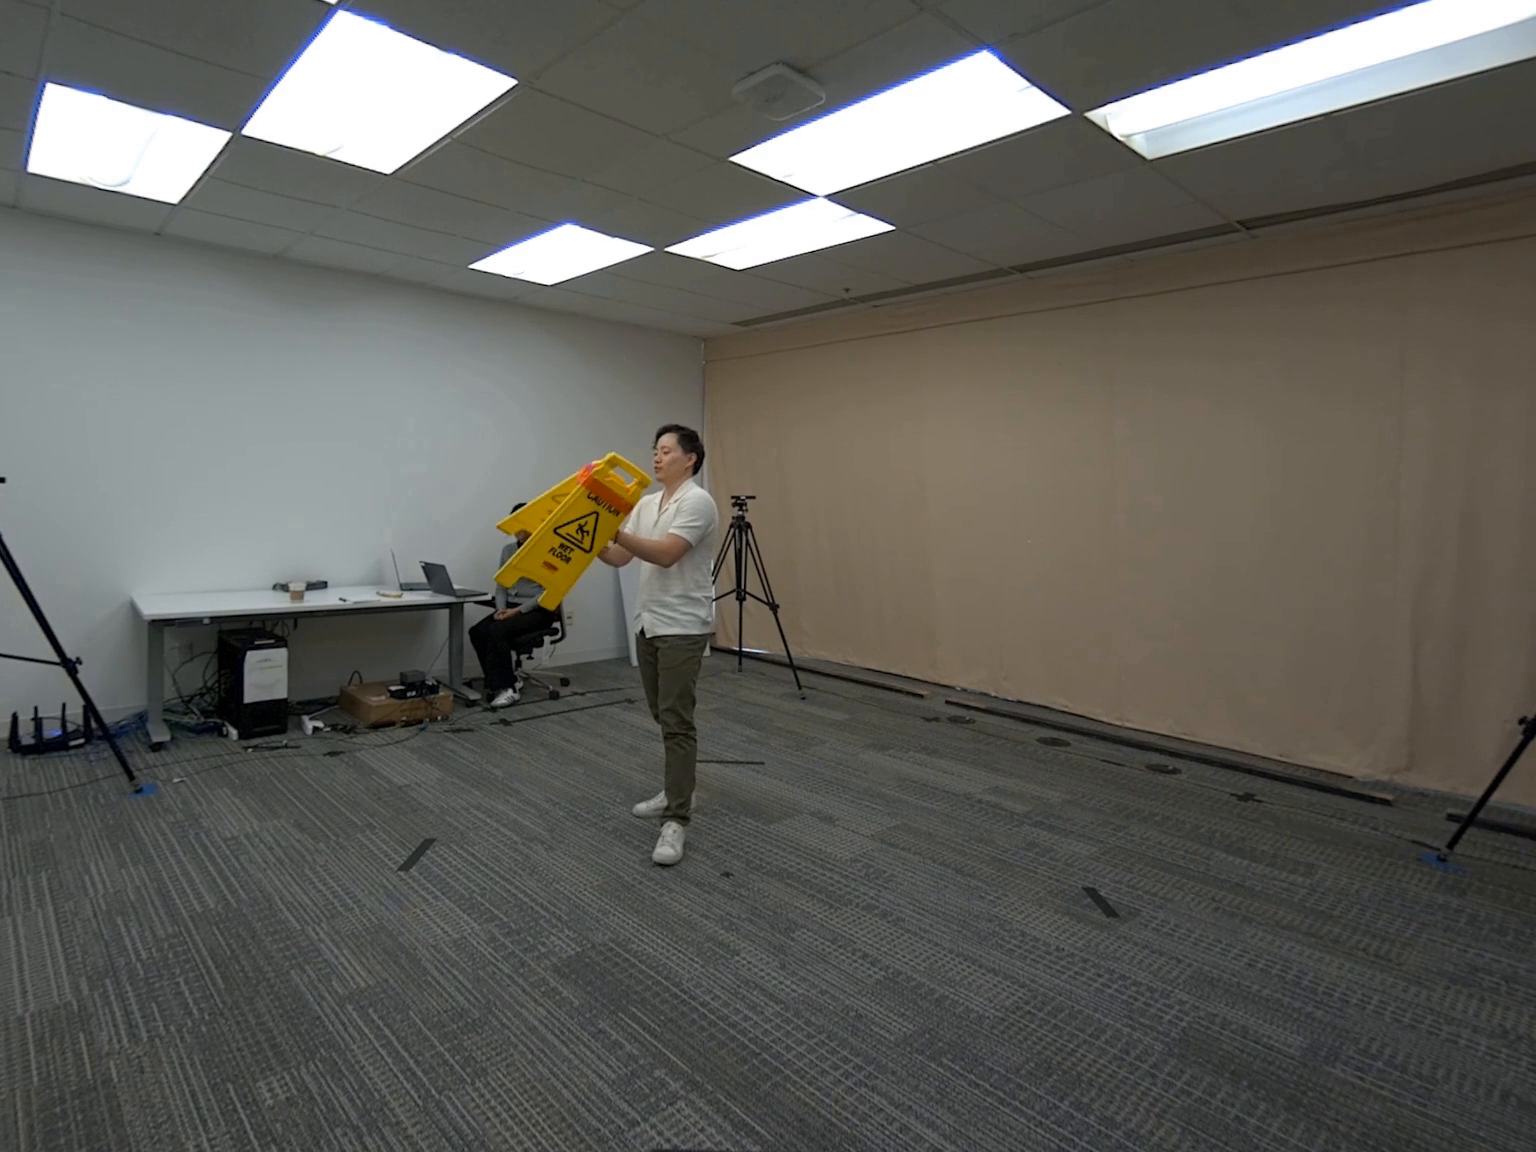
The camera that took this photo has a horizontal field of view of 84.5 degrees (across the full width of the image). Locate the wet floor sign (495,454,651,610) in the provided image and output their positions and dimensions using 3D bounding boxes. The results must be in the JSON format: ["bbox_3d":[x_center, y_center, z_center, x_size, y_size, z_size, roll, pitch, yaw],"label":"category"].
[{"bbox_3d":[-0.730,-0.213,3.190,0.648,0.298,0.274,-39,-50,22],"label":"wet floor sign"}]
